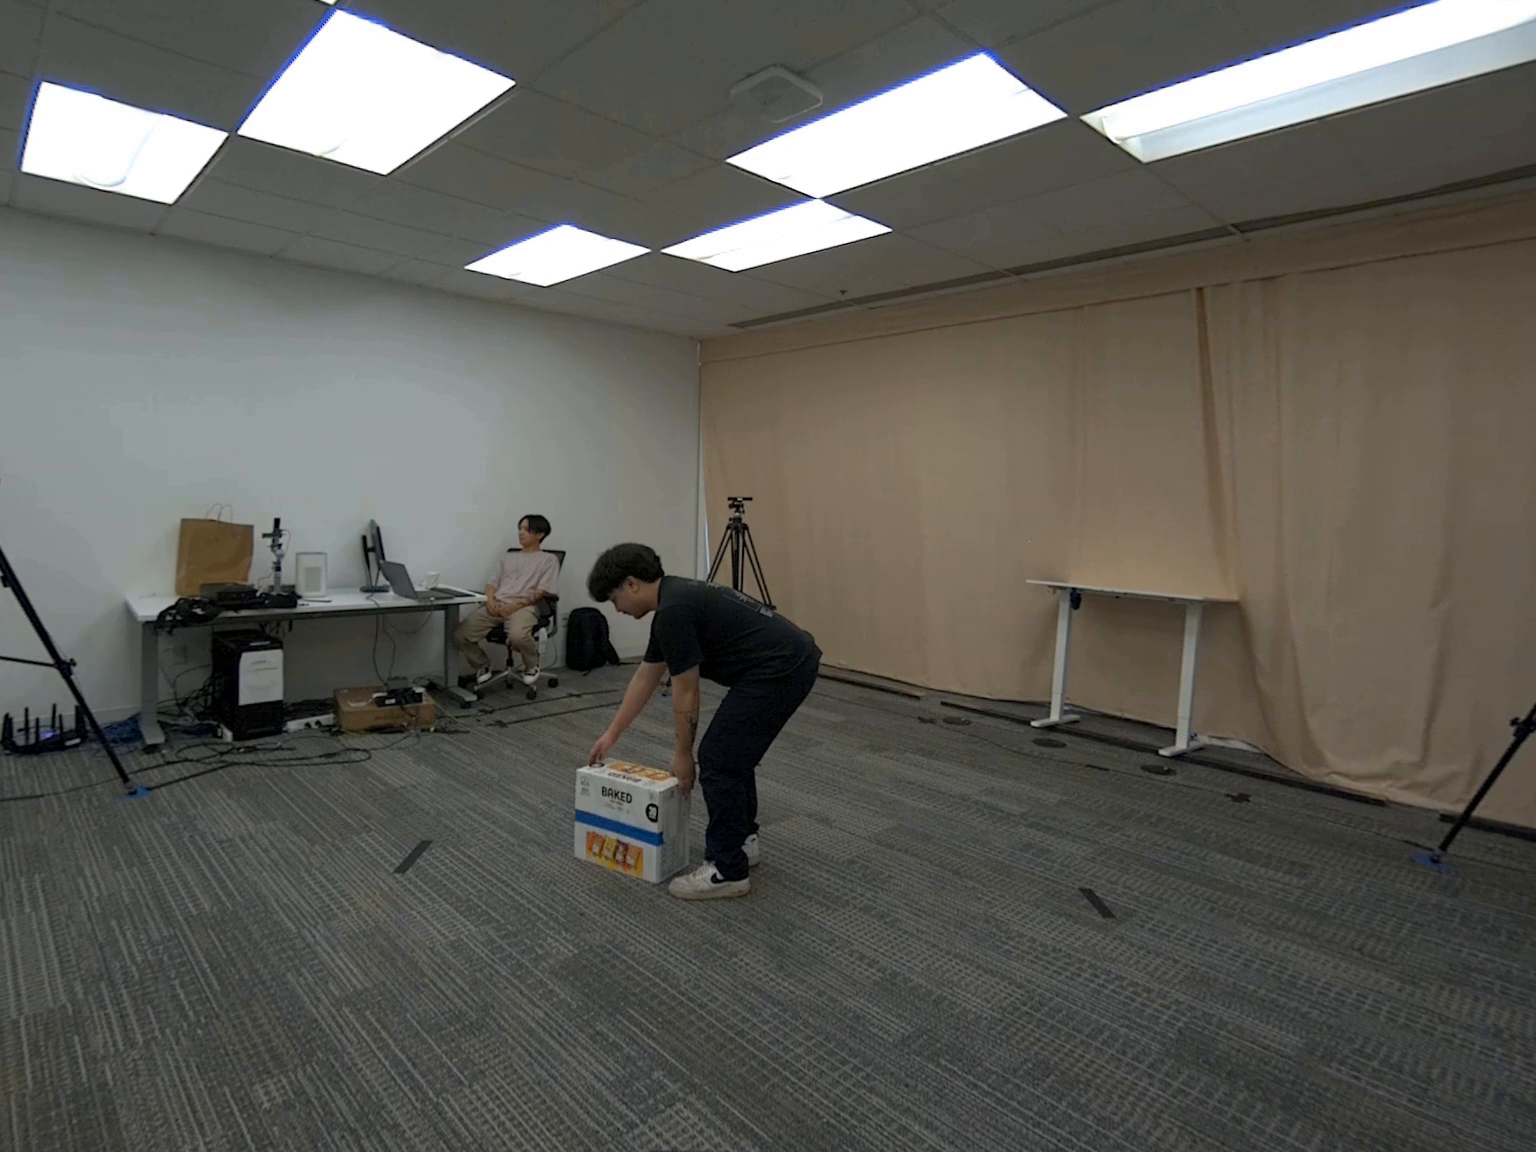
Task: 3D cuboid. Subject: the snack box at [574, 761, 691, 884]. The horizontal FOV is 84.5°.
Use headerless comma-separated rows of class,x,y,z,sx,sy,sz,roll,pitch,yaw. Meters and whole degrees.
snack box,-0.524,0.919,3.207,0.414,0.339,0.201,4,4,31
